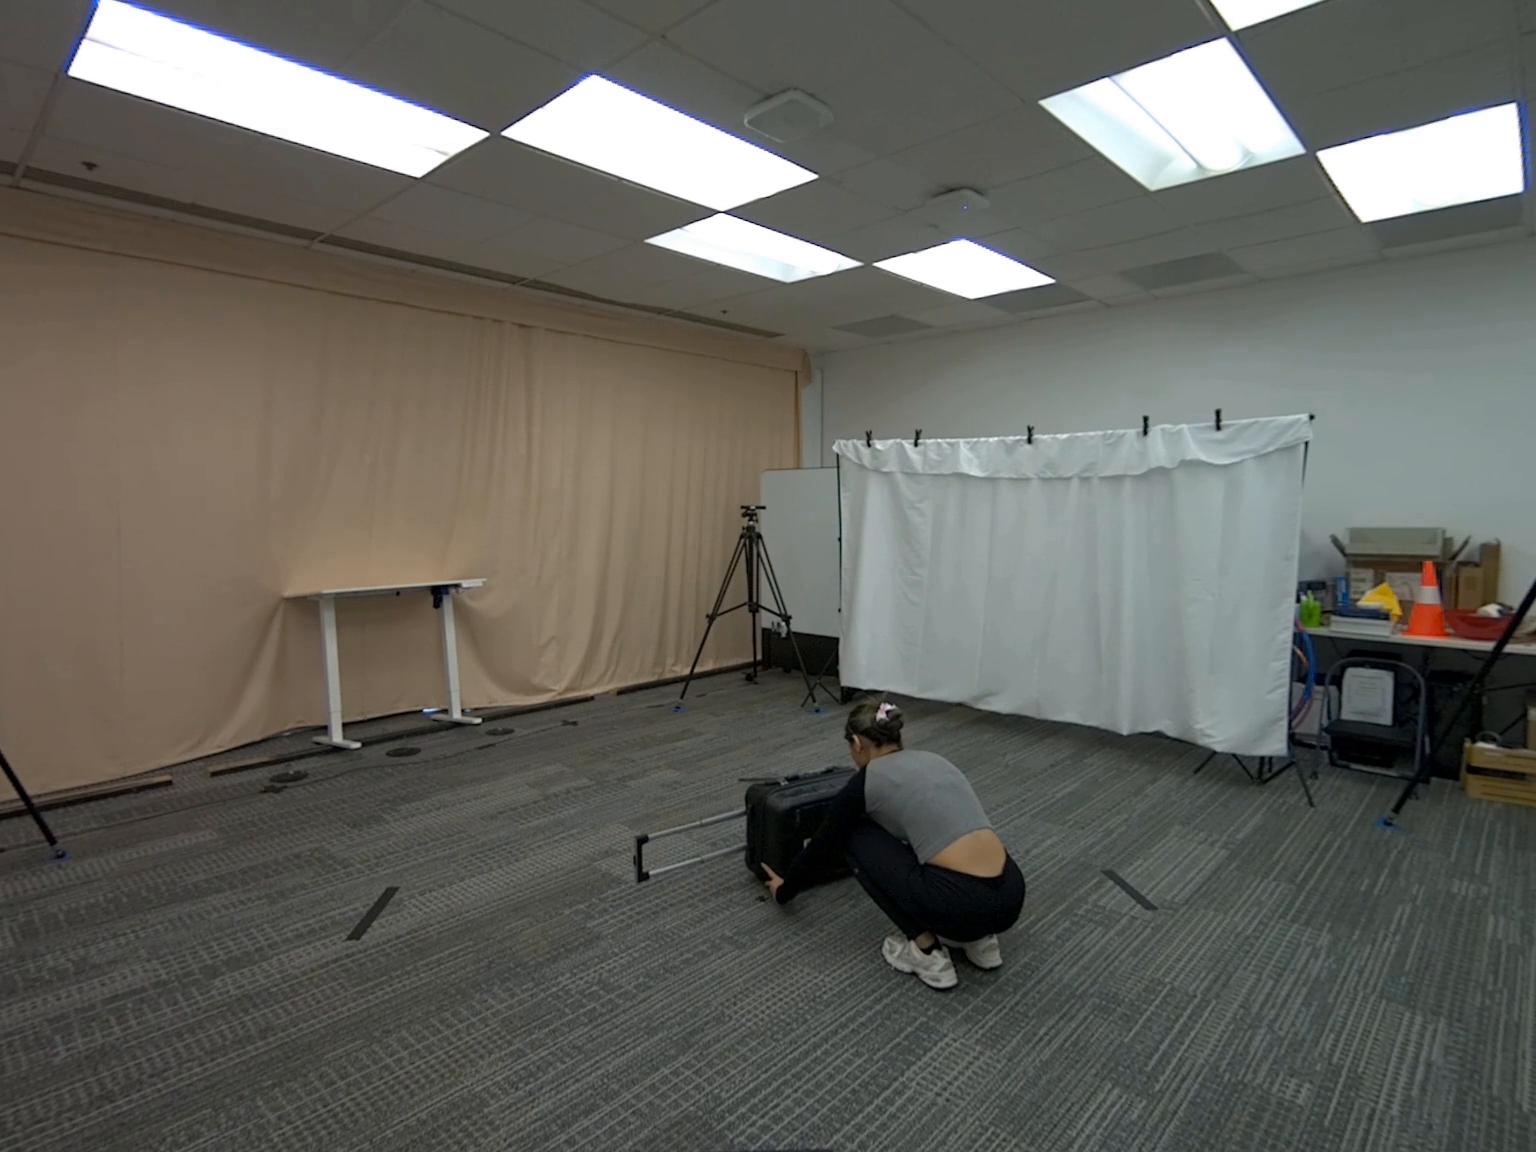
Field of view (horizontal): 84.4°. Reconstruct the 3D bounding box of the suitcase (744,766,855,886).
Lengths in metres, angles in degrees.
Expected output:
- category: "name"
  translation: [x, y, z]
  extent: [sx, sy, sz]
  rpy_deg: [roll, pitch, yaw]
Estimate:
- category: "suitcase"
  translation: [0.010, 0.945, 3.062]
  extent: [0.950, 0.383, 0.265]
  rpy_deg: [-2, 3, -34]
